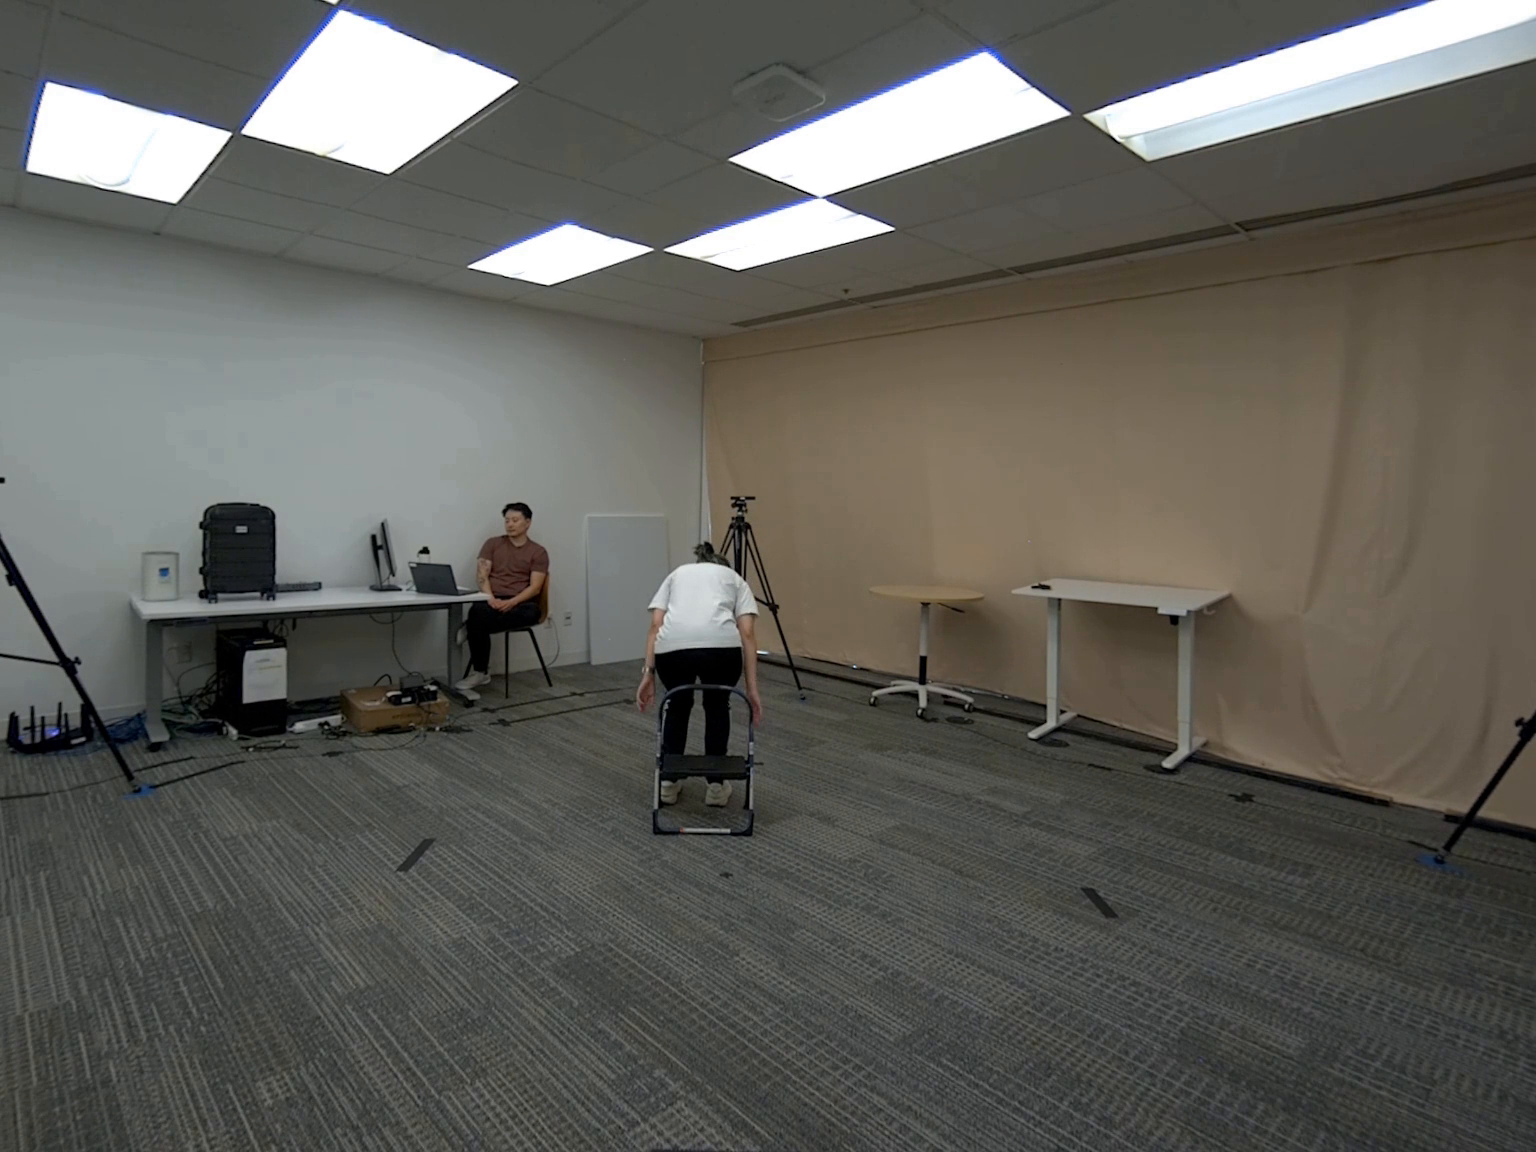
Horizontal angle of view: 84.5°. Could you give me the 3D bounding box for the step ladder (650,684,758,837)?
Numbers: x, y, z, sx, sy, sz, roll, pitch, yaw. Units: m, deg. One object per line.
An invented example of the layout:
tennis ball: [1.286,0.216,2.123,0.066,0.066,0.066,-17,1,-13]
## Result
step ladder: [-0.278,0.758,3.616,0.429,0.605,0.351,1,3,-4]
